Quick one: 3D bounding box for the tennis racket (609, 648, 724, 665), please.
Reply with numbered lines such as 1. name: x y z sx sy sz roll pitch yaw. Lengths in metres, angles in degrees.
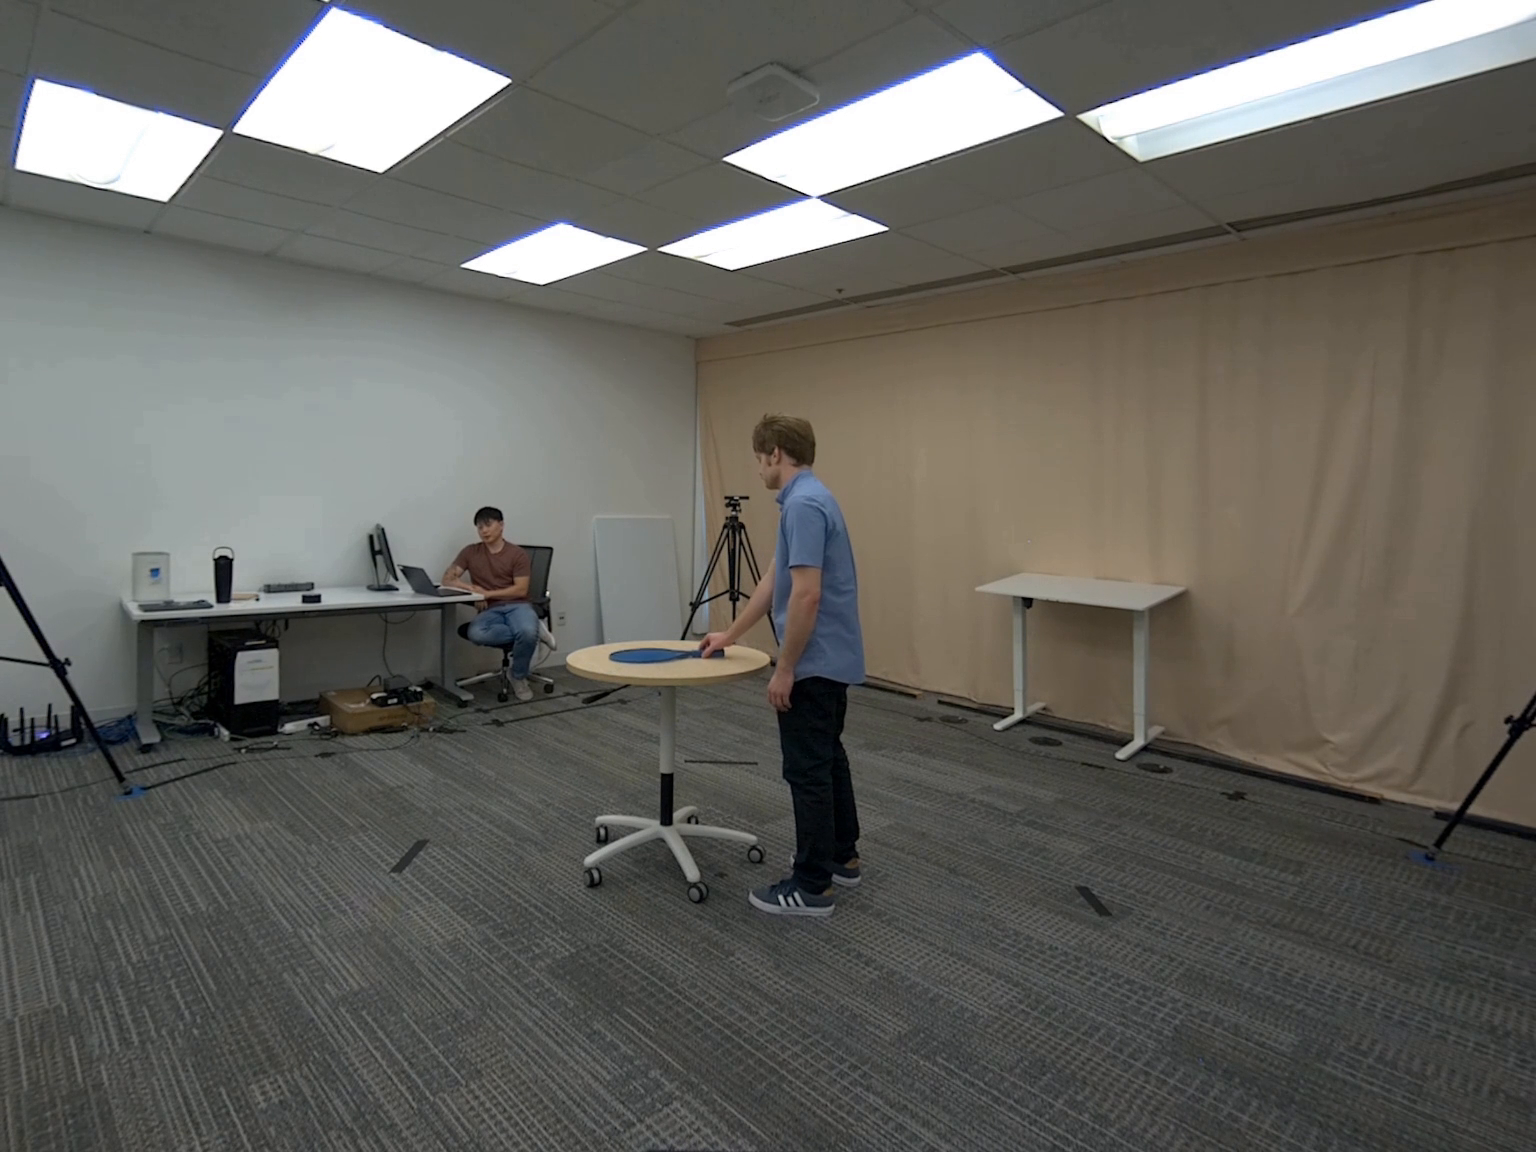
1. tennis racket: -0.382 0.299 3.156 0.429 0.031 0.216 -2 6 -11
